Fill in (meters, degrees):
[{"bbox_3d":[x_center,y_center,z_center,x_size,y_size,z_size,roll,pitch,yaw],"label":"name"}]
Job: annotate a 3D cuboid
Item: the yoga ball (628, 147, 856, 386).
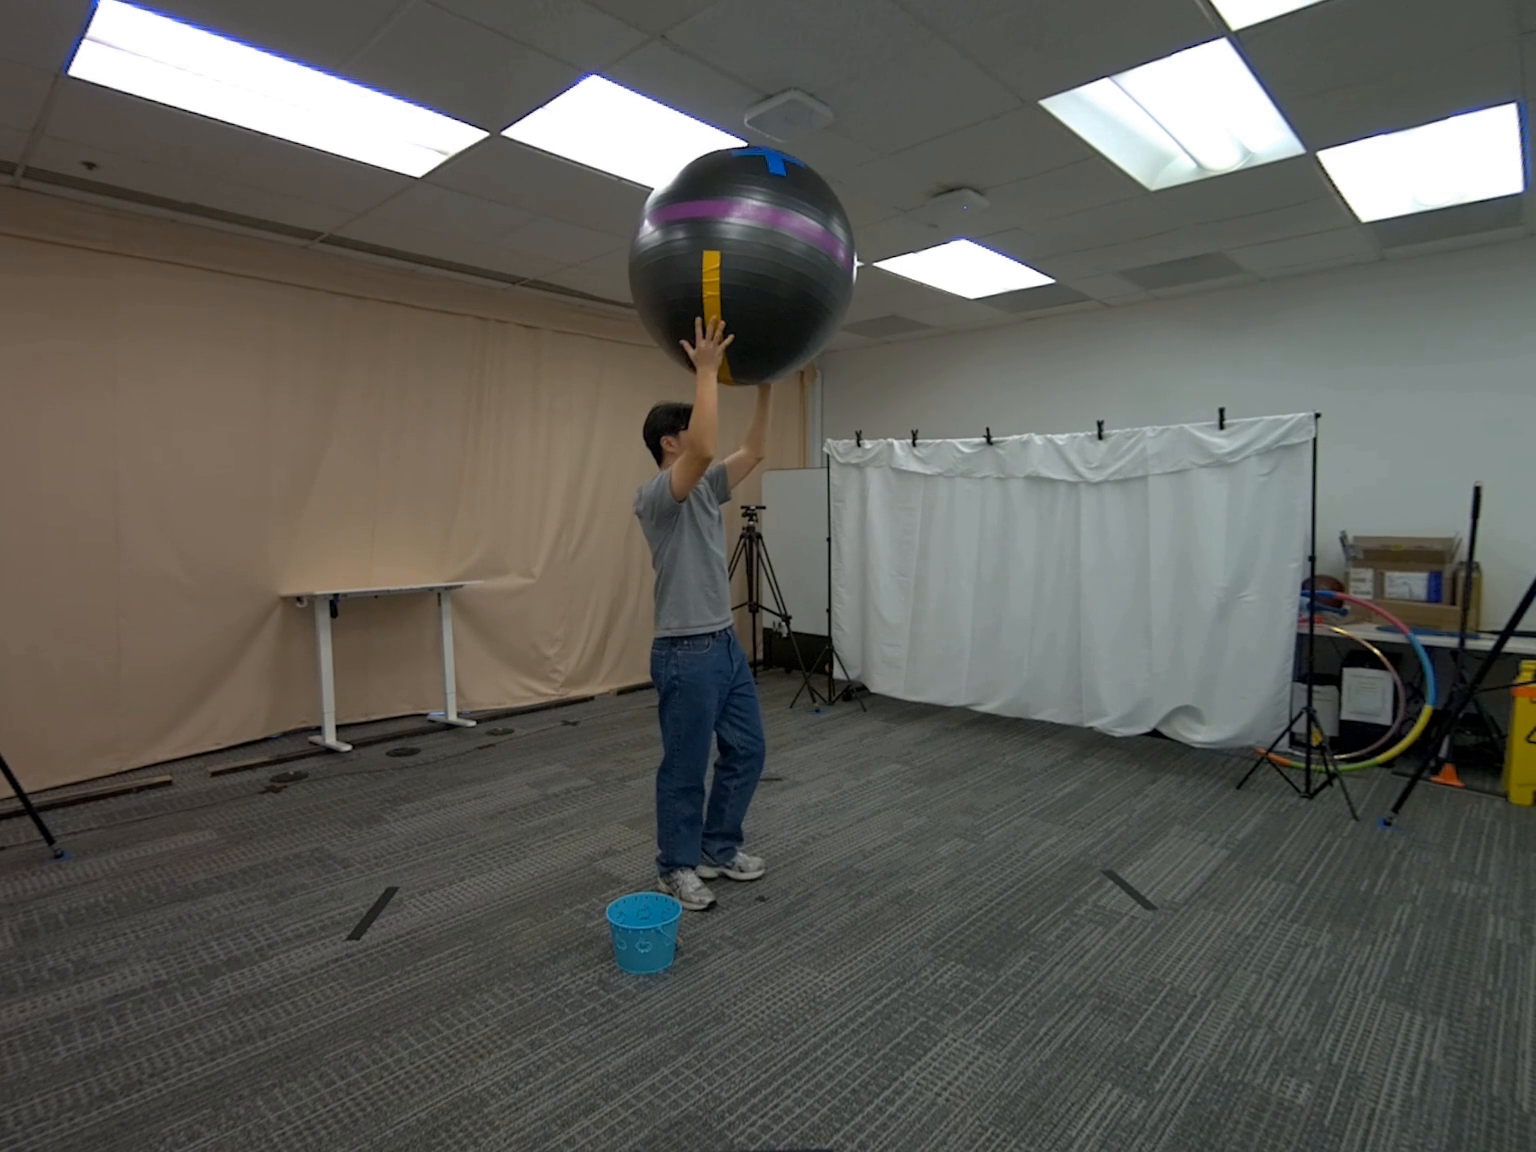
[{"bbox_3d":[-0.086,-1.021,2.824,0.757,0.756,0.761,0,4,-2],"label":"yoga ball"}]
